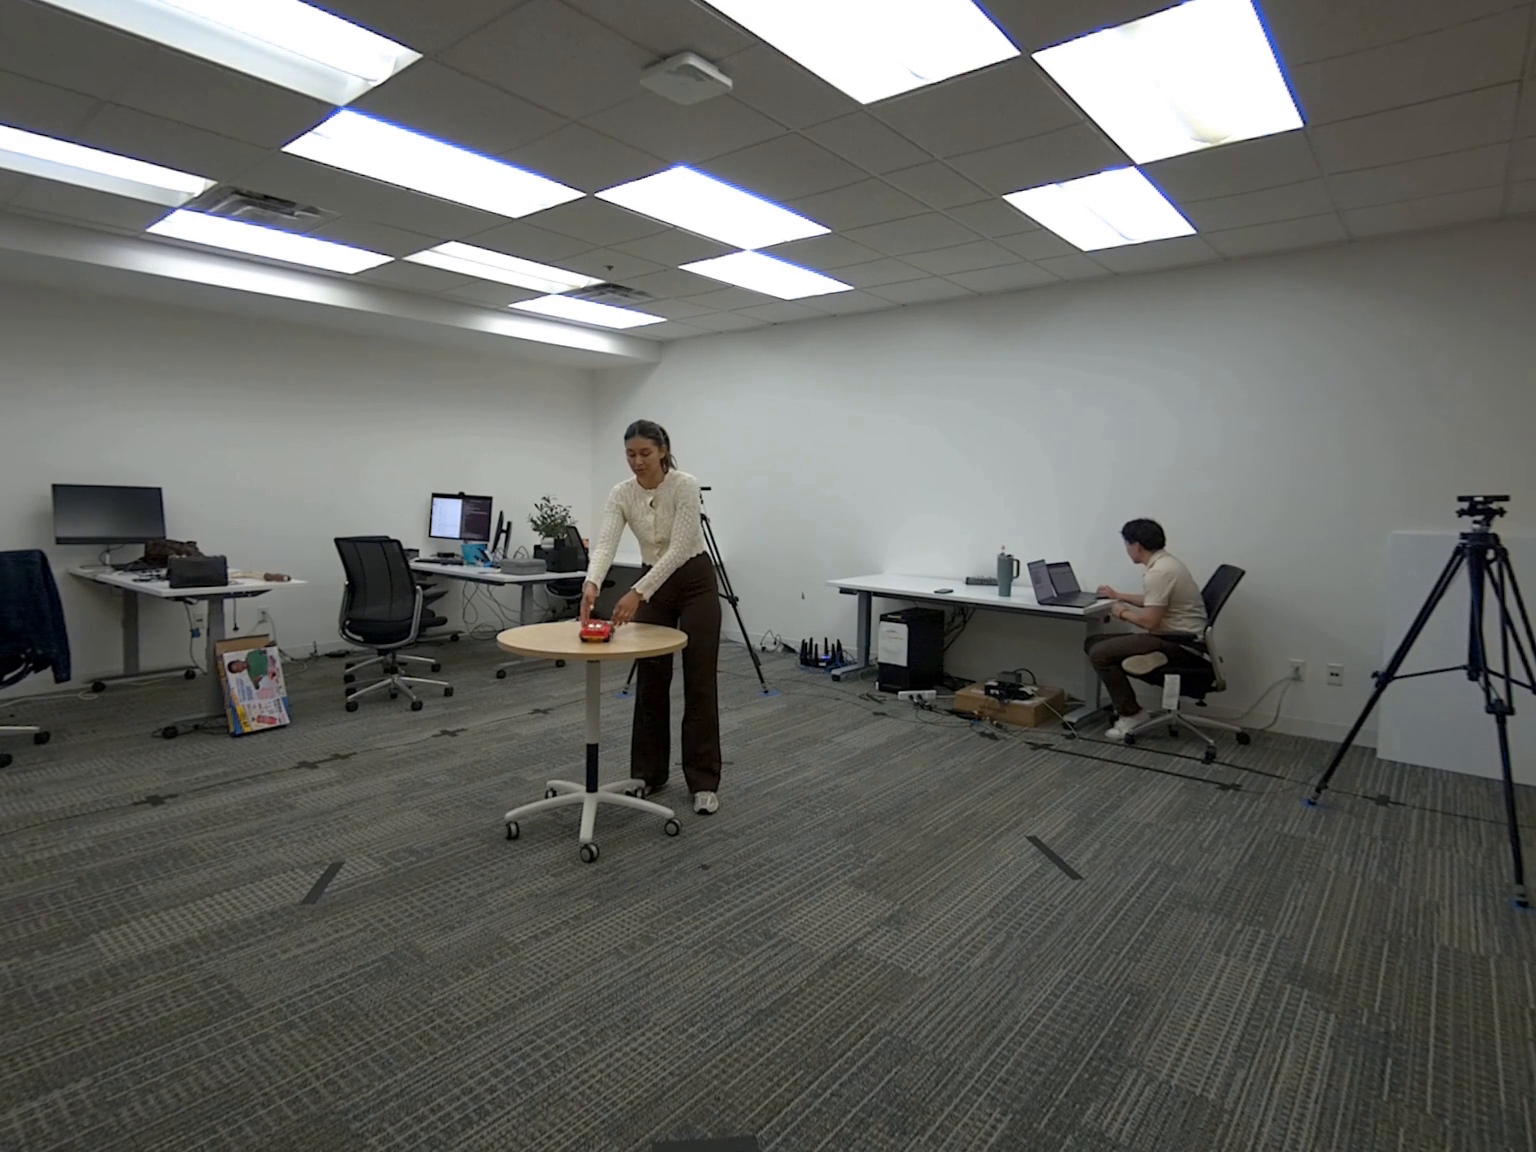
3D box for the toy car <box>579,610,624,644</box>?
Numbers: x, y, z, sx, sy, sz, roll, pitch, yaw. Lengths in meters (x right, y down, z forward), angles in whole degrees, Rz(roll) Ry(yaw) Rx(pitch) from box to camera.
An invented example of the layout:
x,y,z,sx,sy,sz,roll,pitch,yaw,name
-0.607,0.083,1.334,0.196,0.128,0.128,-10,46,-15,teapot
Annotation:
x,y,z,sx,sy,sz,roll,pitch,yaw,name
-0.690,0.217,3.376,0.130,0.084,0.254,1,-5,-4,toy car
